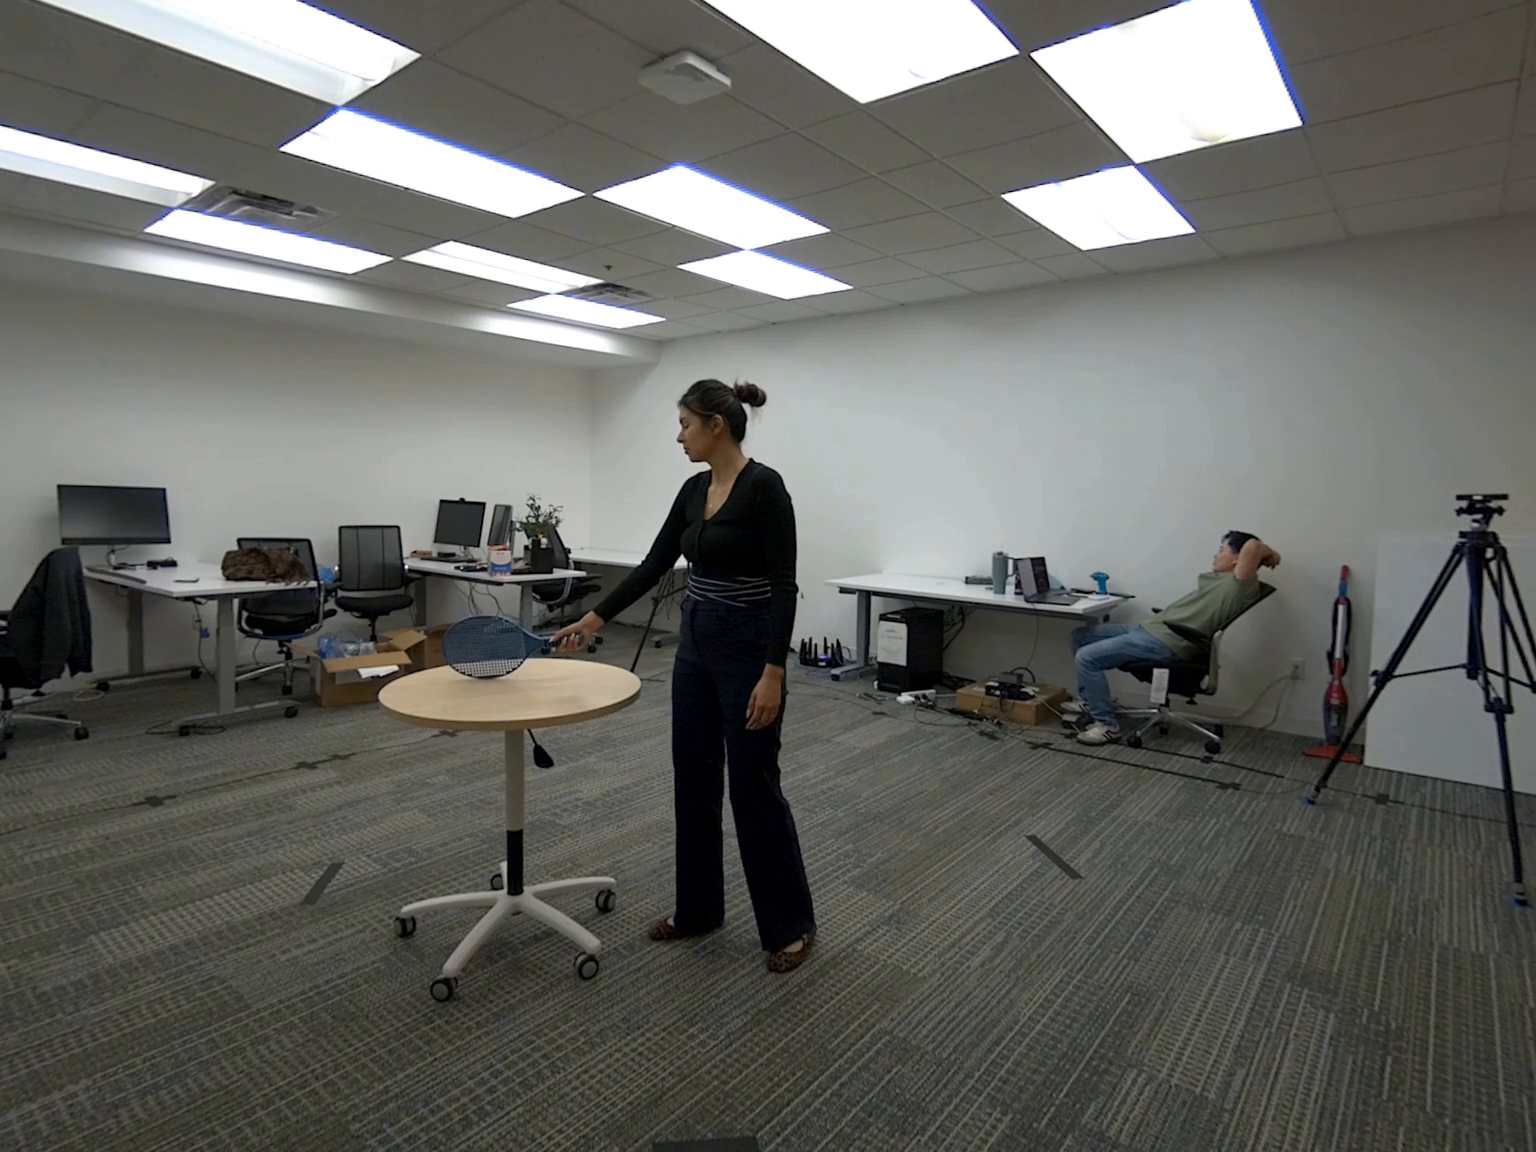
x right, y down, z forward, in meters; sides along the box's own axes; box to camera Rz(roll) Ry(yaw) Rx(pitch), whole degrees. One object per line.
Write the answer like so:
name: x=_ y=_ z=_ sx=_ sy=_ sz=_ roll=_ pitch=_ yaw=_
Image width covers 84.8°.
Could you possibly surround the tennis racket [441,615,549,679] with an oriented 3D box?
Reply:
tennis racket: x=-0.807 y=0.218 z=2.633 sx=0.432 sy=0.212 sz=0.032 roll=0 pitch=6 yaw=-1
